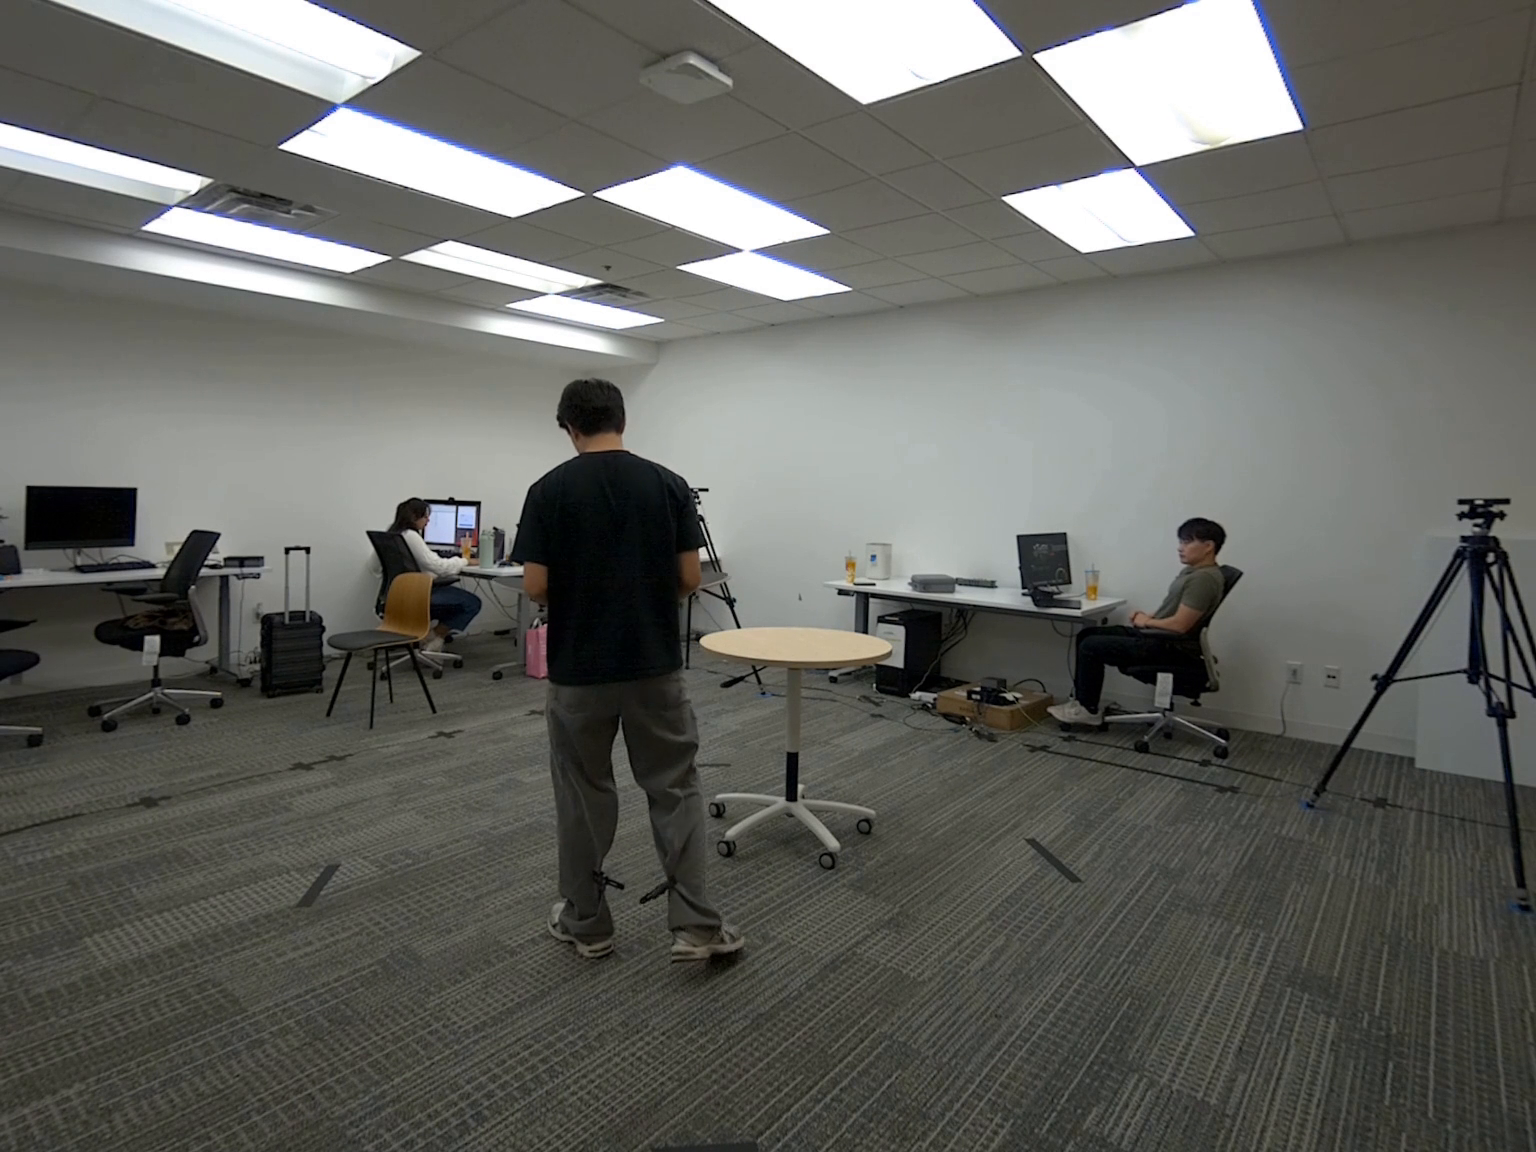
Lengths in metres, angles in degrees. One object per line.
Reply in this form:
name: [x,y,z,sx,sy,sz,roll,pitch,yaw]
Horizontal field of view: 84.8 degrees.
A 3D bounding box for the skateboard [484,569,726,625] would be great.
skateboard: [-0.551,0.062,2.846,0.772,0.109,0.198,-2,11,-17]
